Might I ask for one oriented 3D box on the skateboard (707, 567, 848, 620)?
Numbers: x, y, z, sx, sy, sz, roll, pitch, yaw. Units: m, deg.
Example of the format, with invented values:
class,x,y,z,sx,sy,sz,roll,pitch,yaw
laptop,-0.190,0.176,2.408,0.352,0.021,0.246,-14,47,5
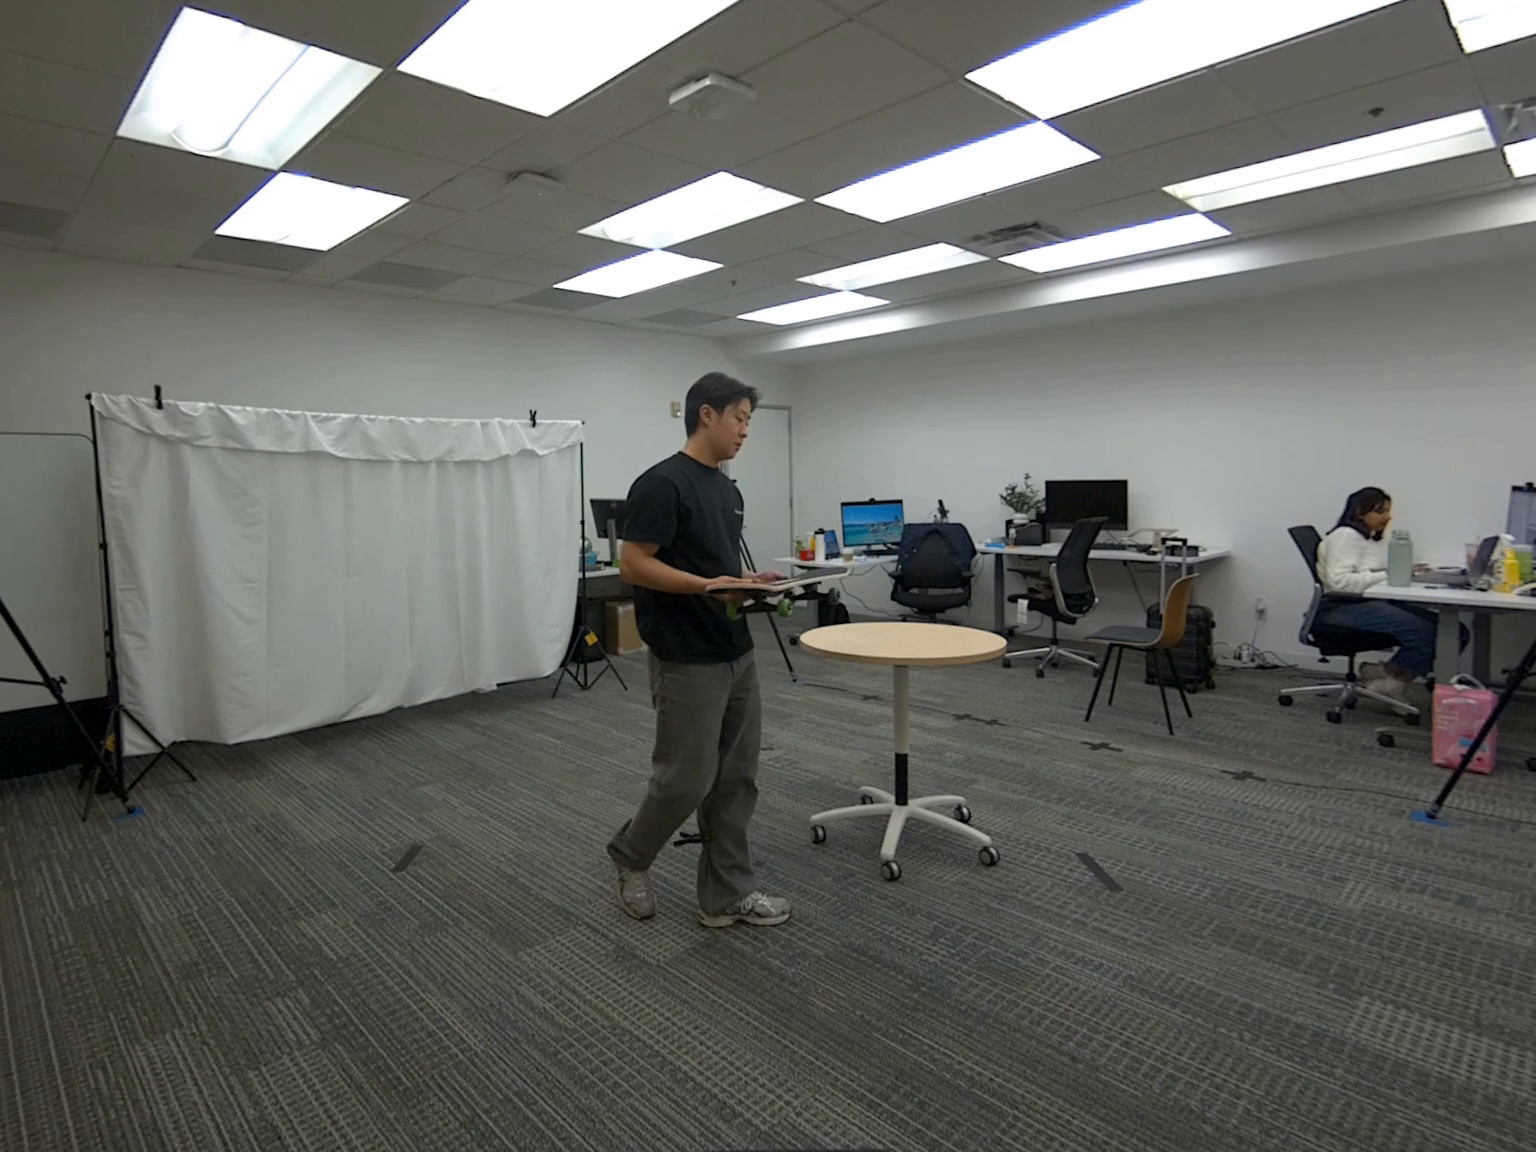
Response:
class,x,y,z,sx,sy,sz,roll,pitch,yaw
skateboard,0.056,0.050,2.536,0.198,0.110,0.767,-5,1,28
